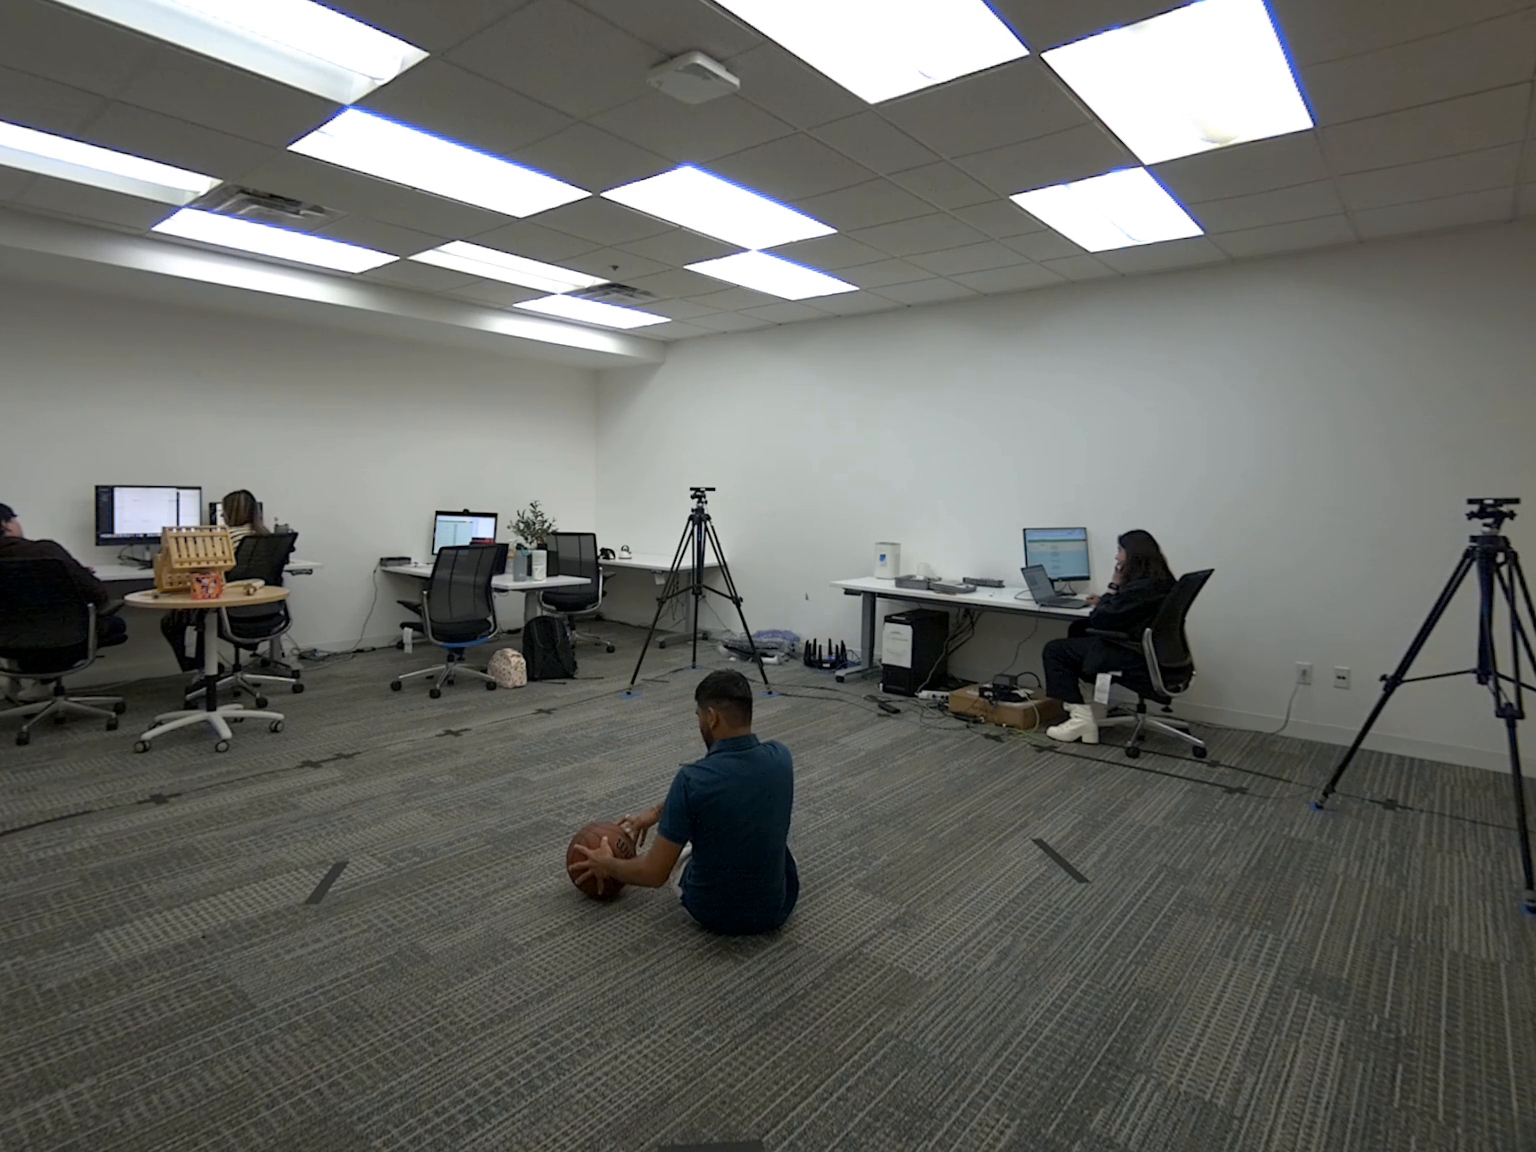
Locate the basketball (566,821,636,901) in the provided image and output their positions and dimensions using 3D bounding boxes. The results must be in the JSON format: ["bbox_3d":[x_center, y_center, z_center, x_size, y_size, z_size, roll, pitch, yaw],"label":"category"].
[{"bbox_3d":[-0.581,0.961,2.914,0.235,0.235,0.237,1,4,-2],"label":"basketball"}]
